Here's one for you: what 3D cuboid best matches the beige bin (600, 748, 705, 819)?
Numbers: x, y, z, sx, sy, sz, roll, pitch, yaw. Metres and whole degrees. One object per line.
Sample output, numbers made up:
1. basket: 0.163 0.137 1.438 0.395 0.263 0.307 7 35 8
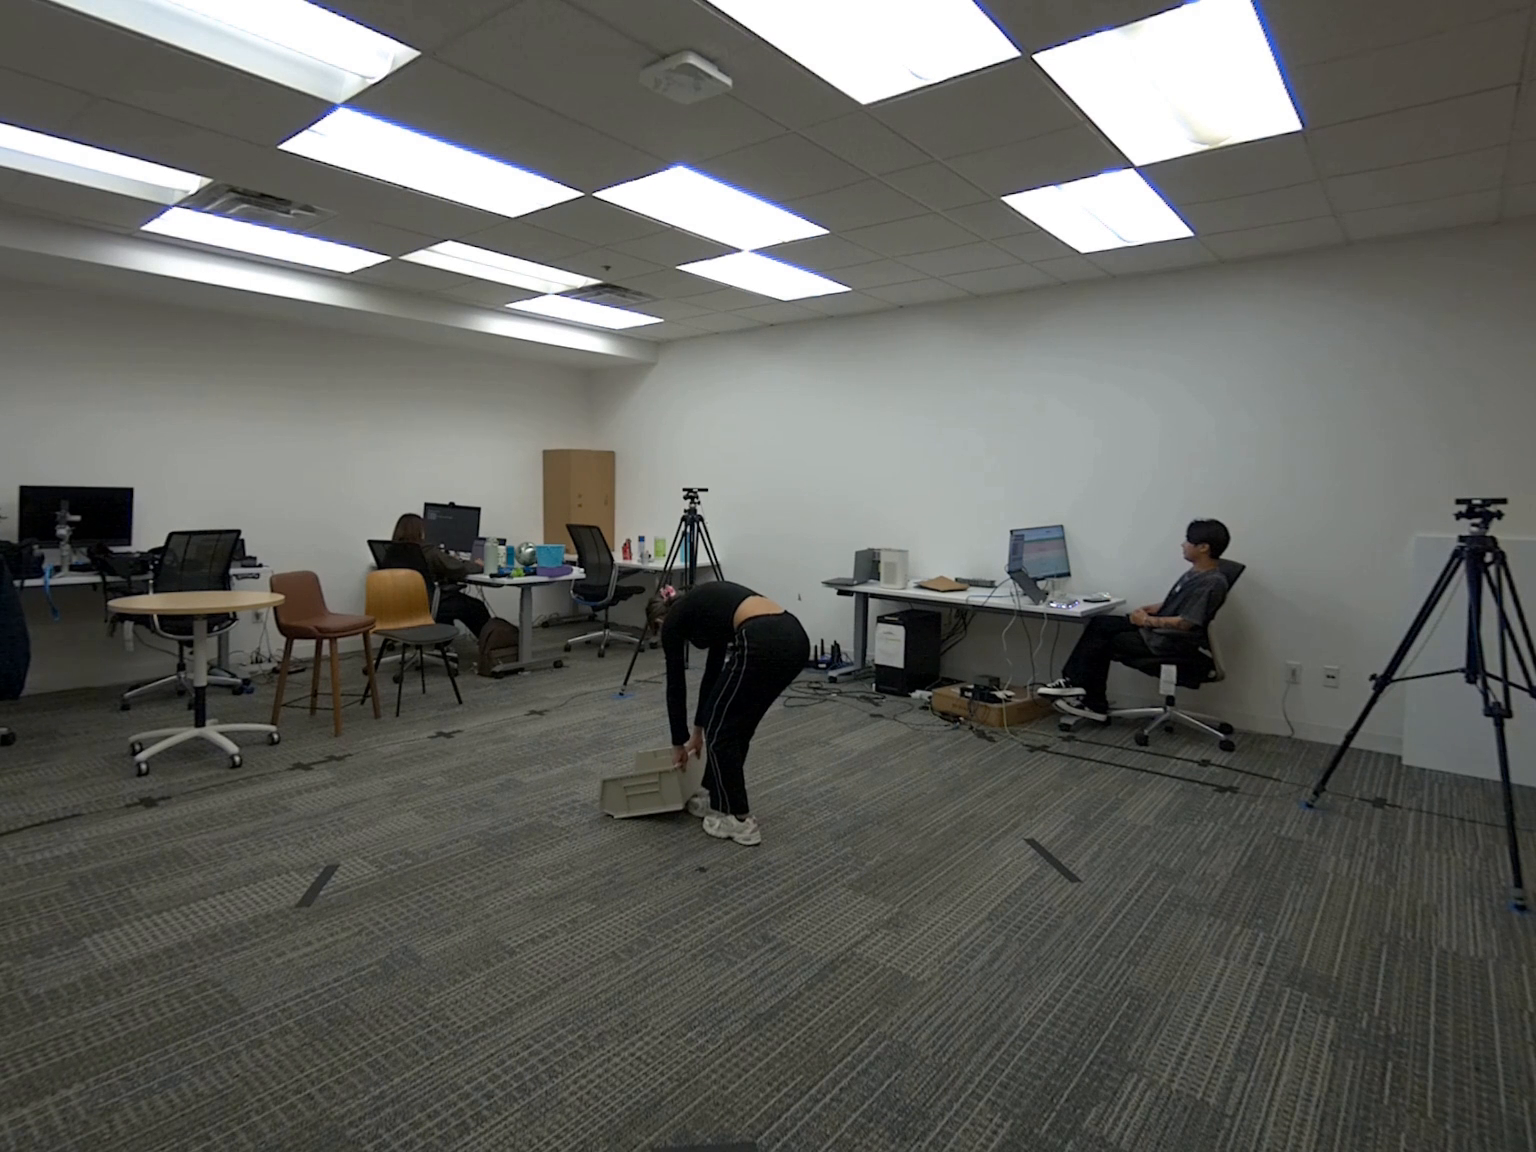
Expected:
1. beige bin: -0.507 0.889 3.730 0.380 0.189 0.418 -11 1 8
